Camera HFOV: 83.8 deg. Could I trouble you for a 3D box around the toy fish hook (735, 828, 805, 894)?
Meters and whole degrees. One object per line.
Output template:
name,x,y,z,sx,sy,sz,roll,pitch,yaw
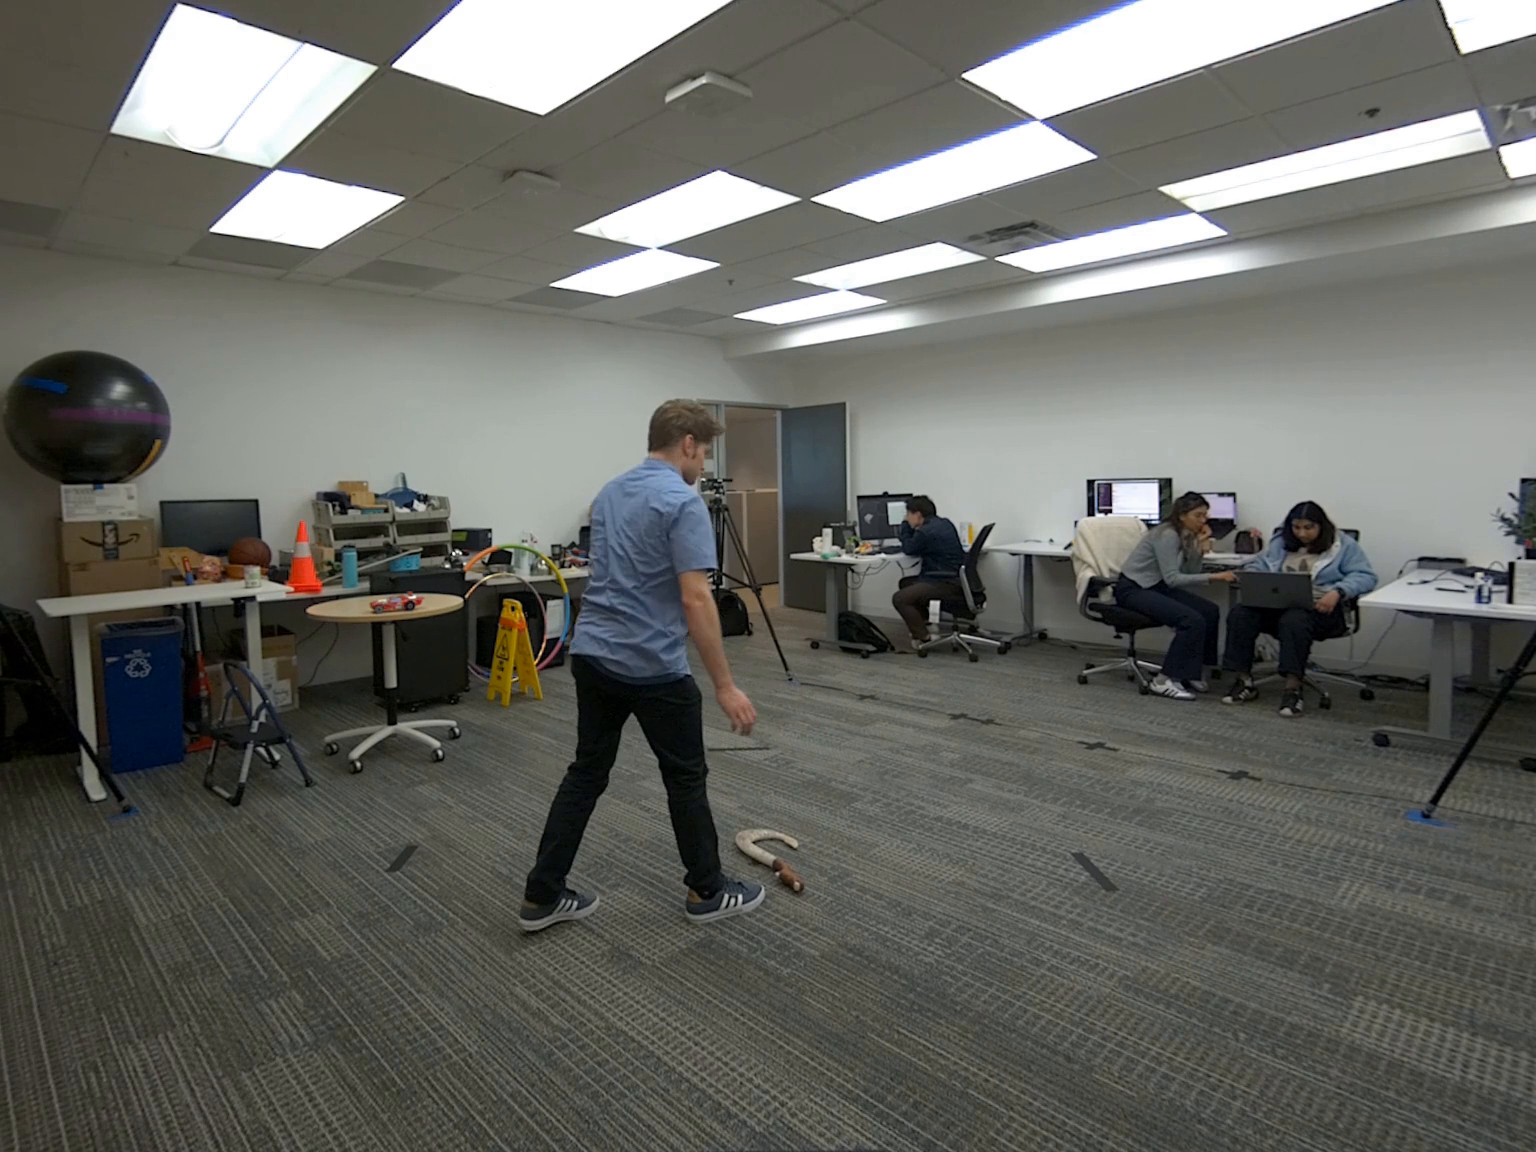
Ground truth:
toy fish hook,0.053,1.021,3.109,0.220,0.048,0.519,-5,8,-23
